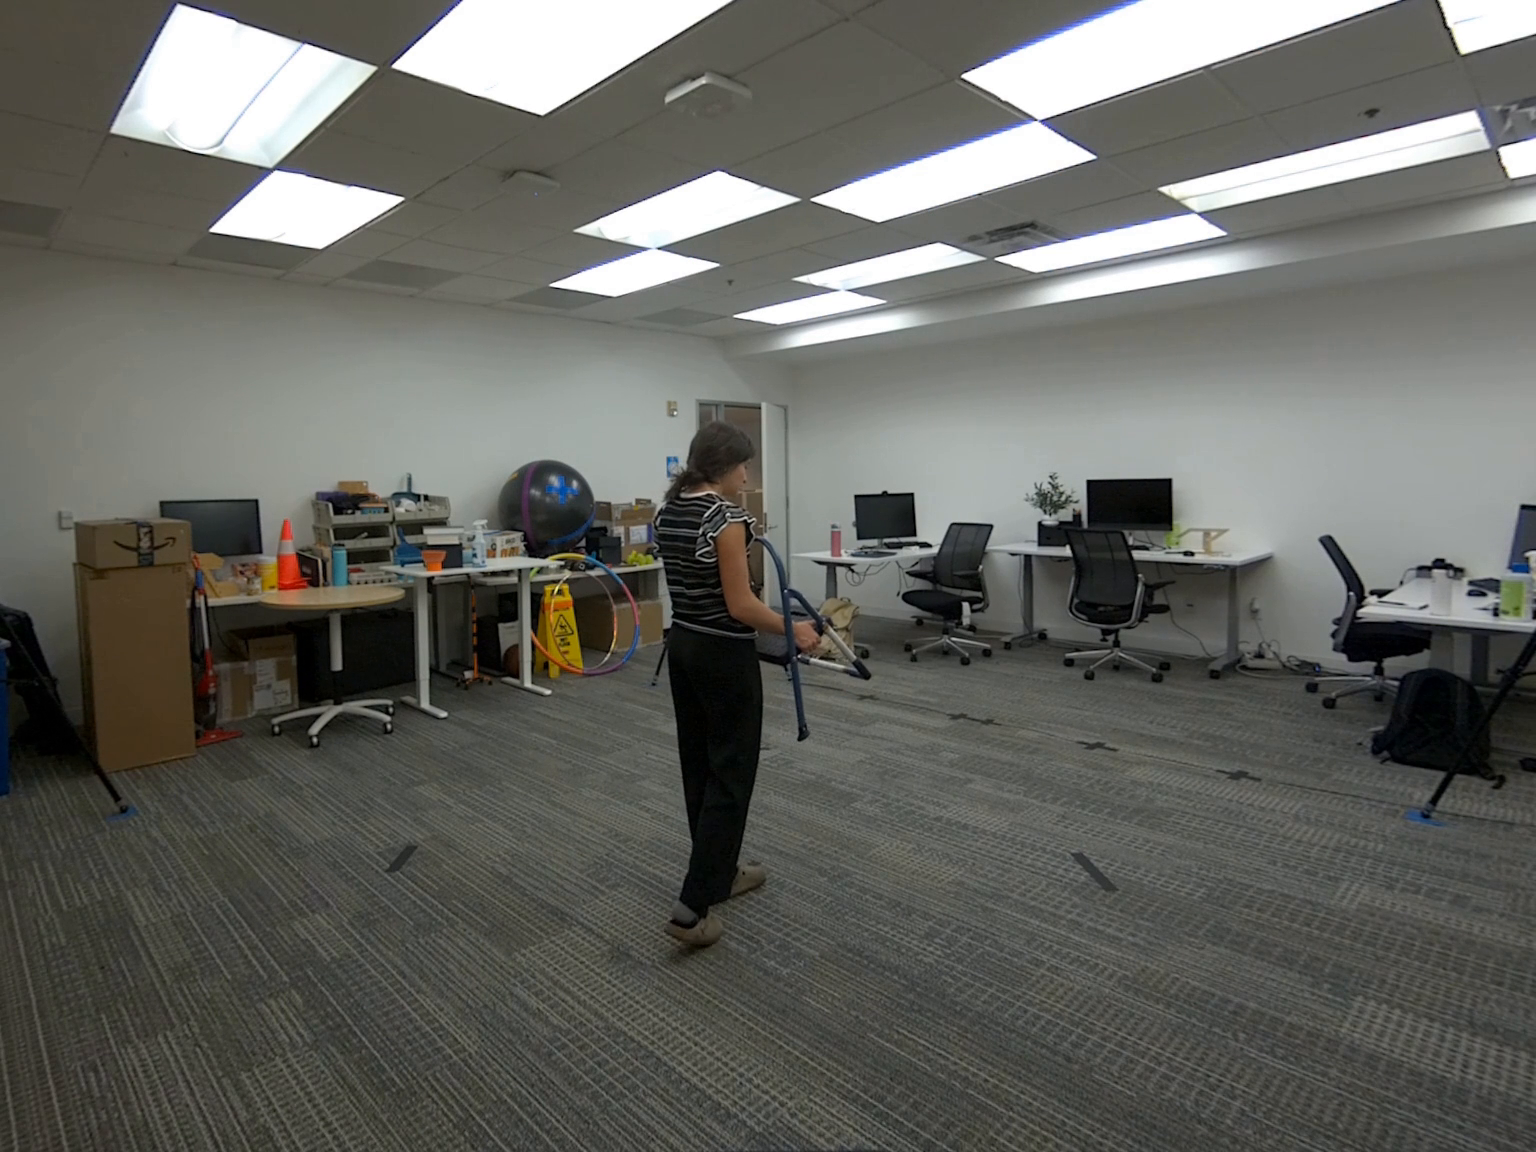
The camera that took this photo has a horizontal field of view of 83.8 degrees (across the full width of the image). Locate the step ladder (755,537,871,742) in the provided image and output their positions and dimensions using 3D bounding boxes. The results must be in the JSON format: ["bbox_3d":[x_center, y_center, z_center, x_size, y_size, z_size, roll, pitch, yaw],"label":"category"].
[{"bbox_3d":[-0.006,0.158,2.875,0.347,0.593,0.443,-36,21,-27],"label":"step ladder"}]
